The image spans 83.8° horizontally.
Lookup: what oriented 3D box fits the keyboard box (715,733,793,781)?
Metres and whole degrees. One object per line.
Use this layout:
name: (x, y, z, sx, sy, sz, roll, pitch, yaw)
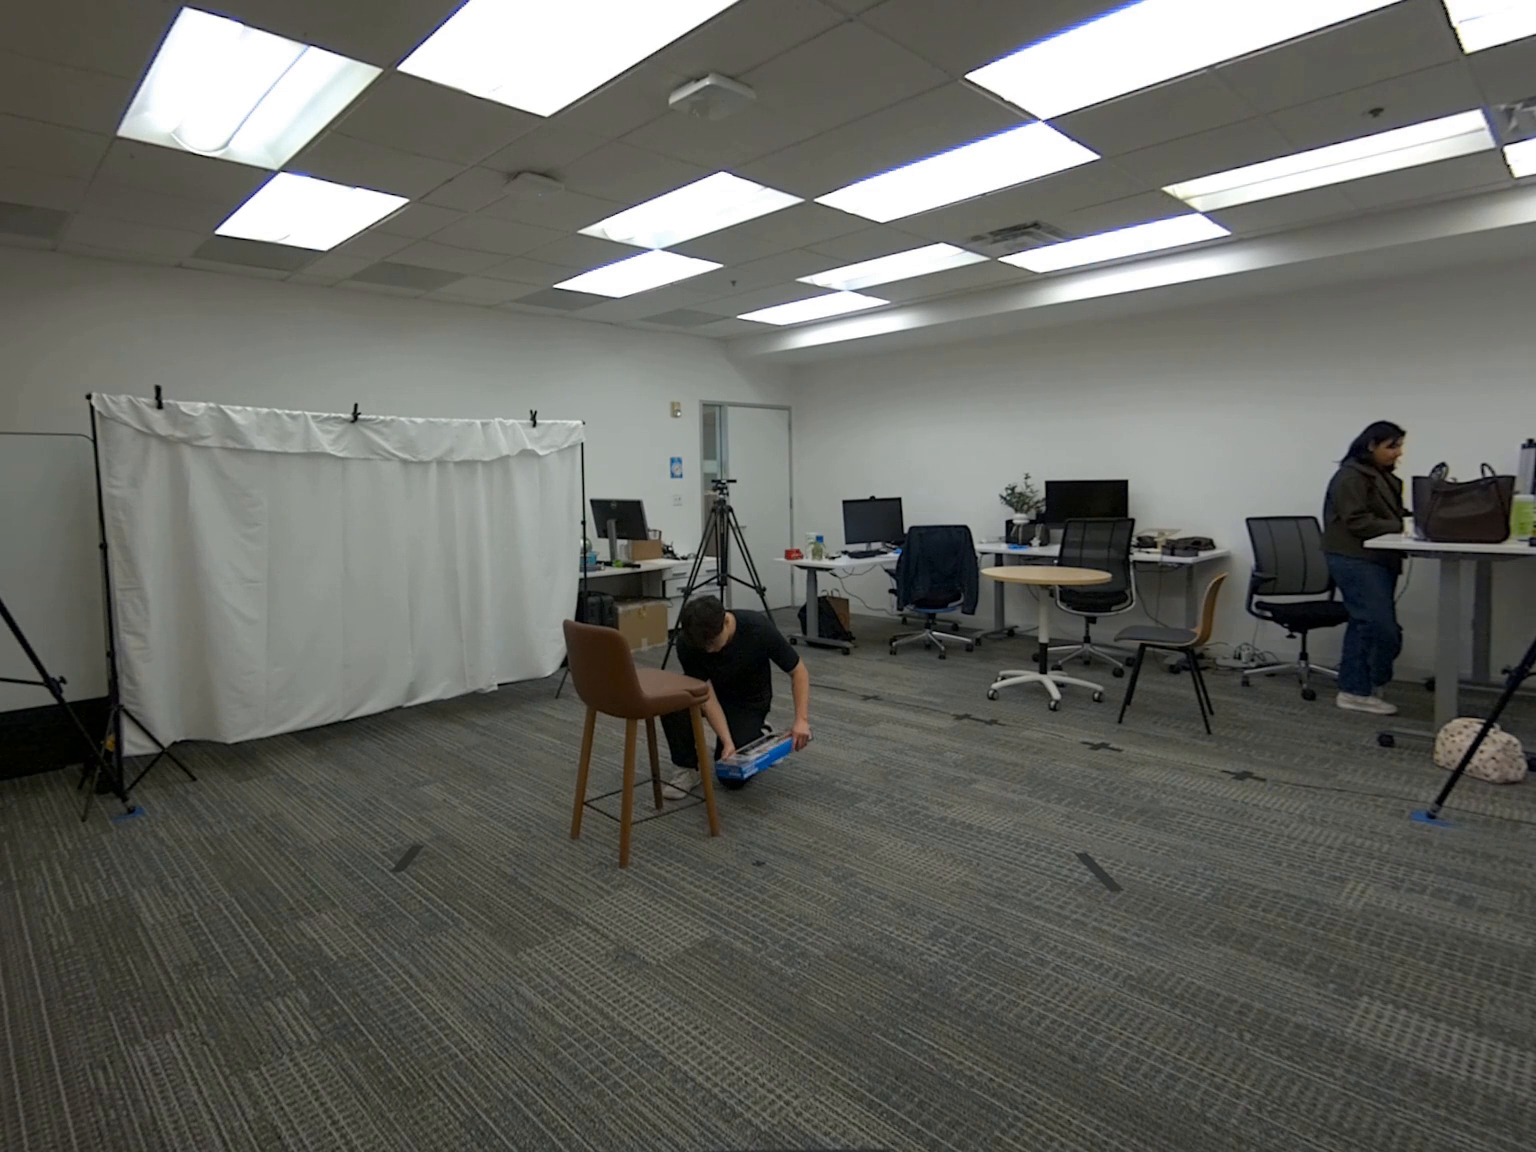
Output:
keyboard box: (-0.010, 0.760, 3.684, 0.428, 0.059, 0.180, -19, 9, -41)
